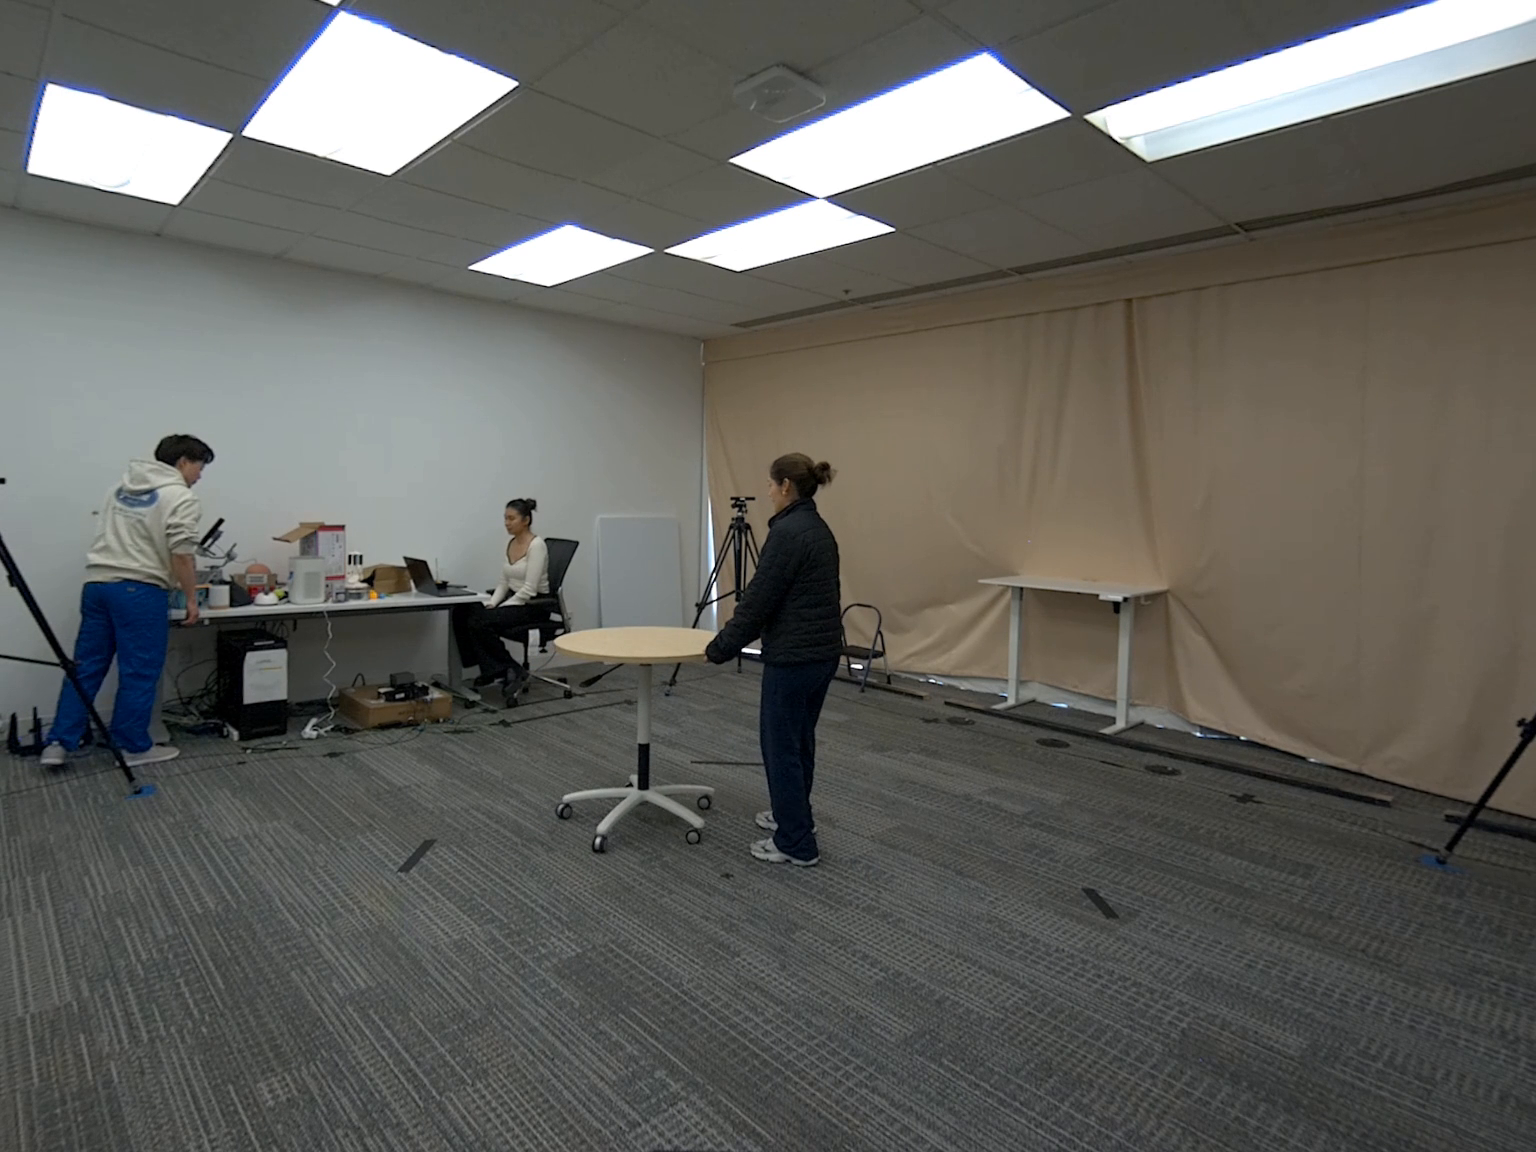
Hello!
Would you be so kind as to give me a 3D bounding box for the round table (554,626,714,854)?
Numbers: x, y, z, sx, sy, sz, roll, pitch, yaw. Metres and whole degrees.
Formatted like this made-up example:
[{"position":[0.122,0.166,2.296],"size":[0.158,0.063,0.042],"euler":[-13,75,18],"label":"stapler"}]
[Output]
[{"position":[-0.528,0.662,3.575],"size":[0.784,0.785,0.787],"euler":[1,4,-1],"label":"round table"}]
